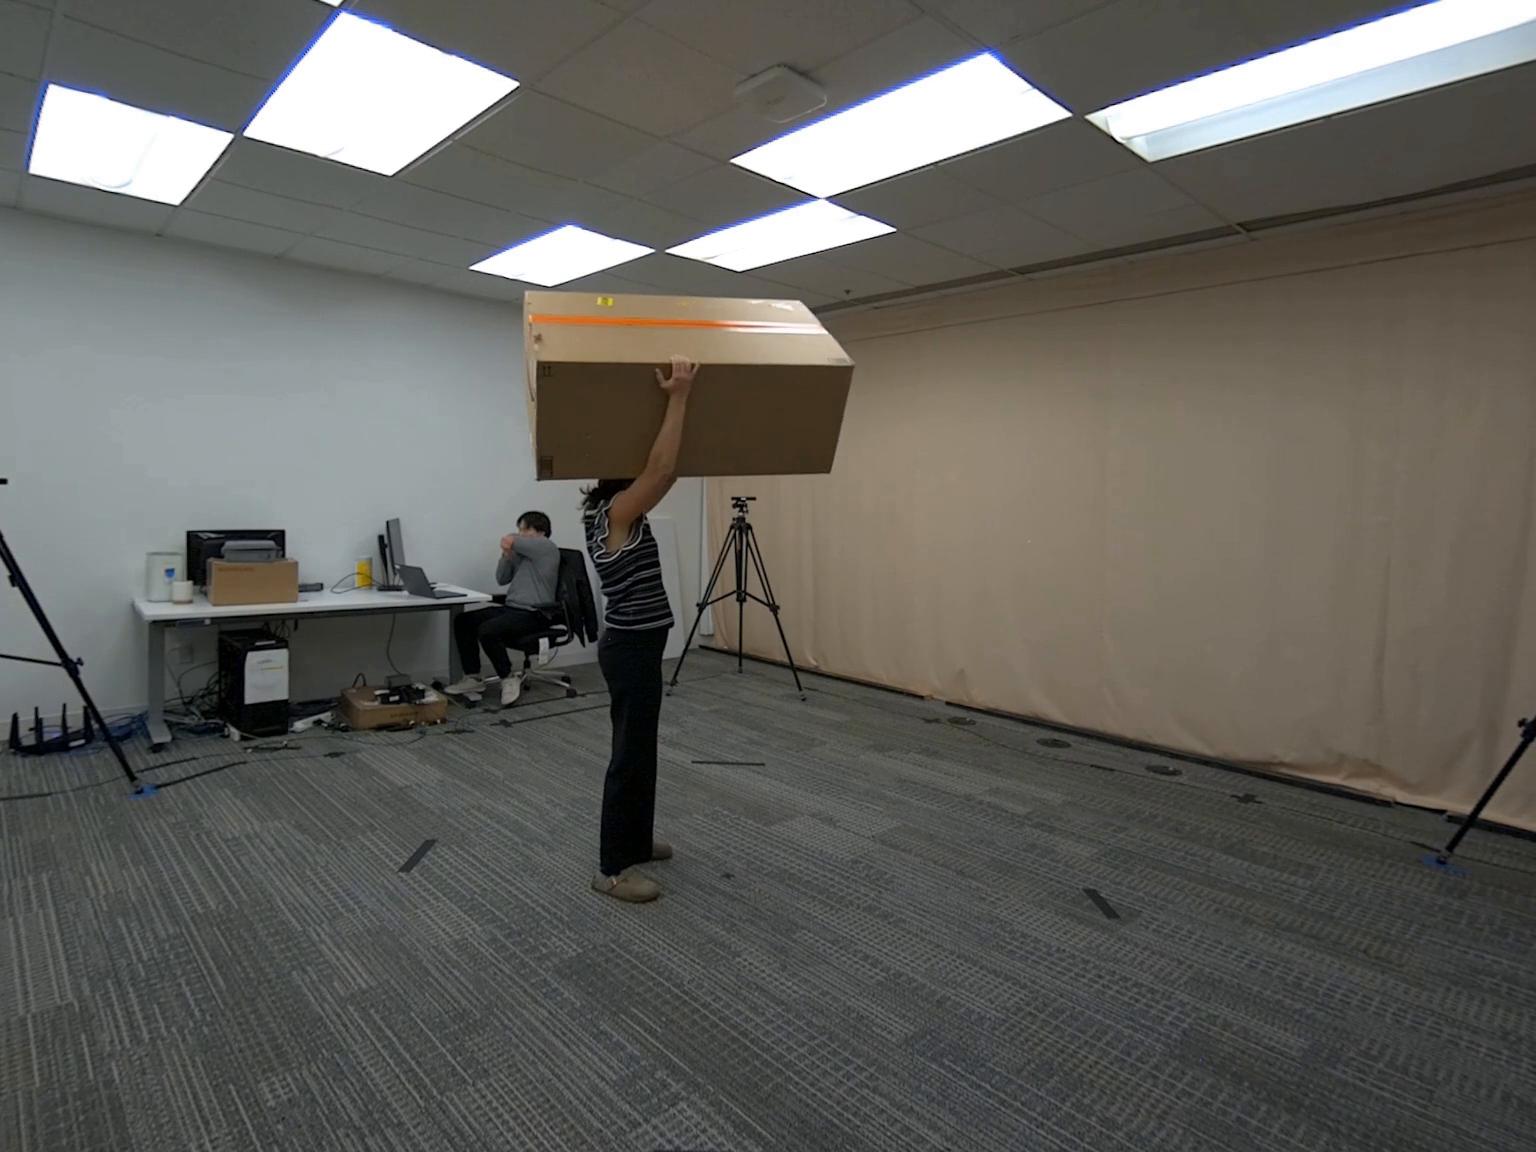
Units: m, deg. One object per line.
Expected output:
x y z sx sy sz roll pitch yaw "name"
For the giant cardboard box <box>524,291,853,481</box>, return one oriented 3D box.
-0.308 -0.662 2.941 1.013 0.419 0.594 -3 38 -17 "giant cardboard box"
